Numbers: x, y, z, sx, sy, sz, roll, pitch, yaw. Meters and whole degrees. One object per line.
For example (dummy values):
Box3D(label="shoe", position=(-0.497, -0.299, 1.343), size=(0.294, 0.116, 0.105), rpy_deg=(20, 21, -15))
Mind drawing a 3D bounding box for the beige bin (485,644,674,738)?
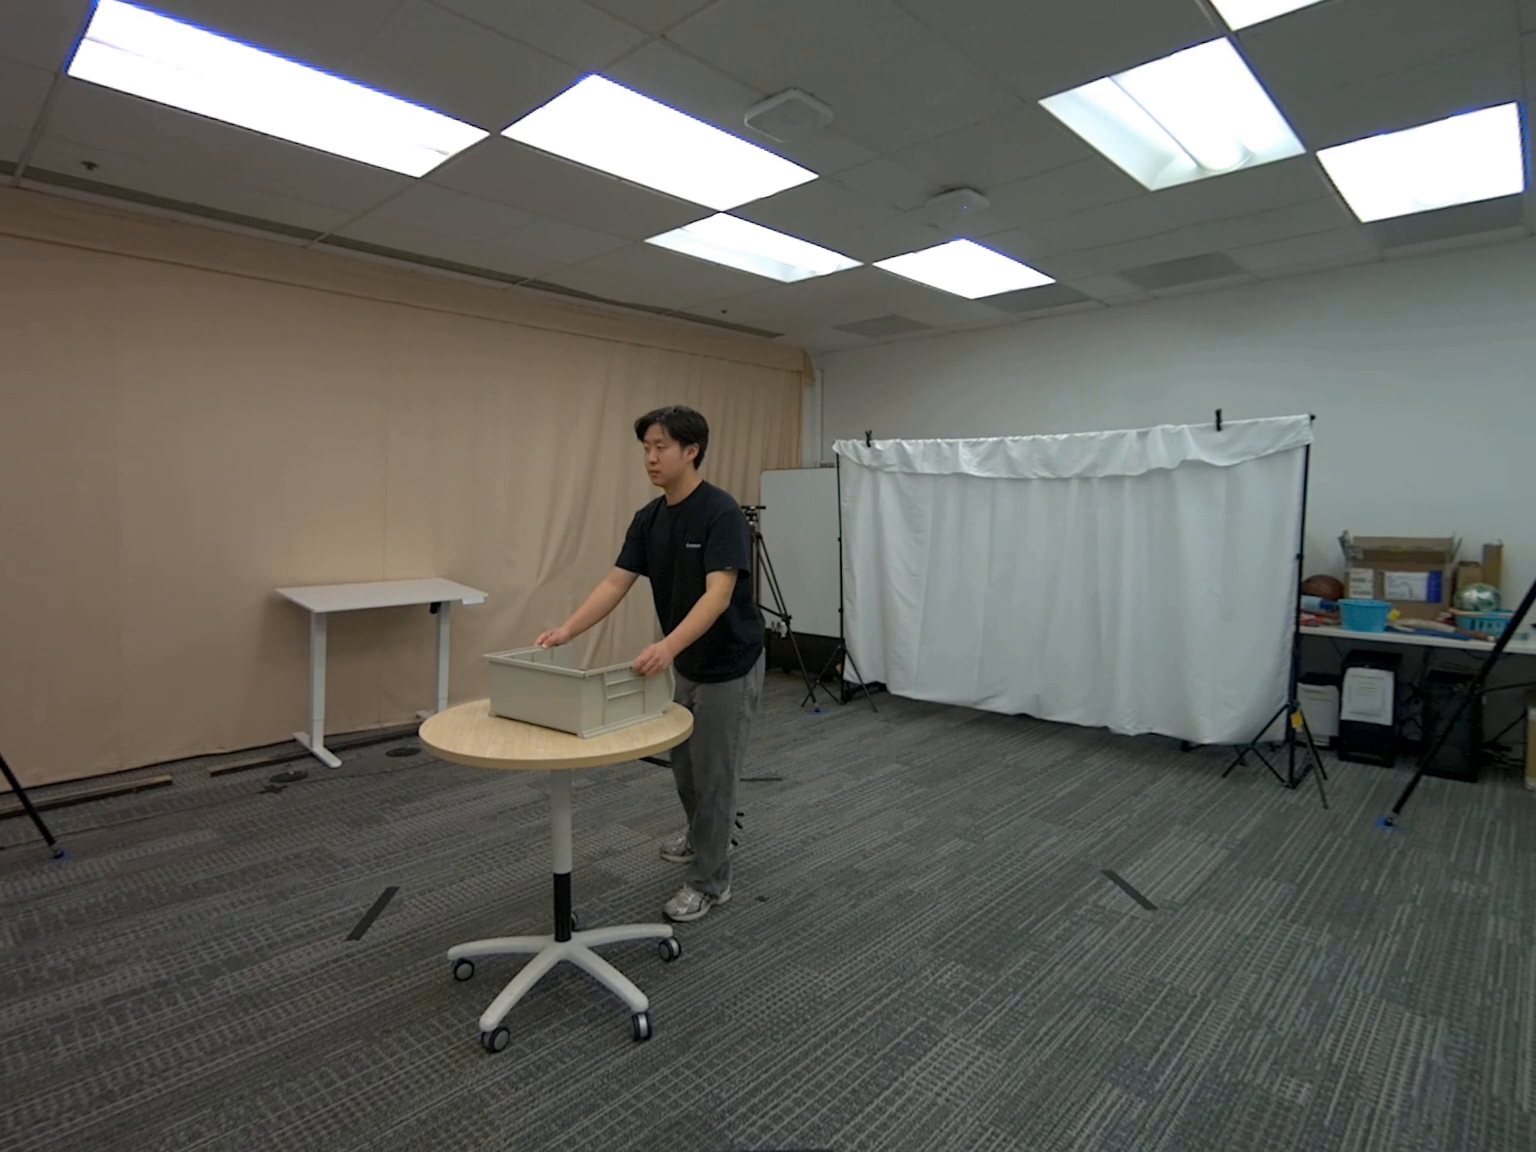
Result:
Box3D(label="beige bin", position=(-0.553, 0.320, 2.471), size=(0.436, 0.188, 0.366), rpy_deg=(4, 7, 36))
